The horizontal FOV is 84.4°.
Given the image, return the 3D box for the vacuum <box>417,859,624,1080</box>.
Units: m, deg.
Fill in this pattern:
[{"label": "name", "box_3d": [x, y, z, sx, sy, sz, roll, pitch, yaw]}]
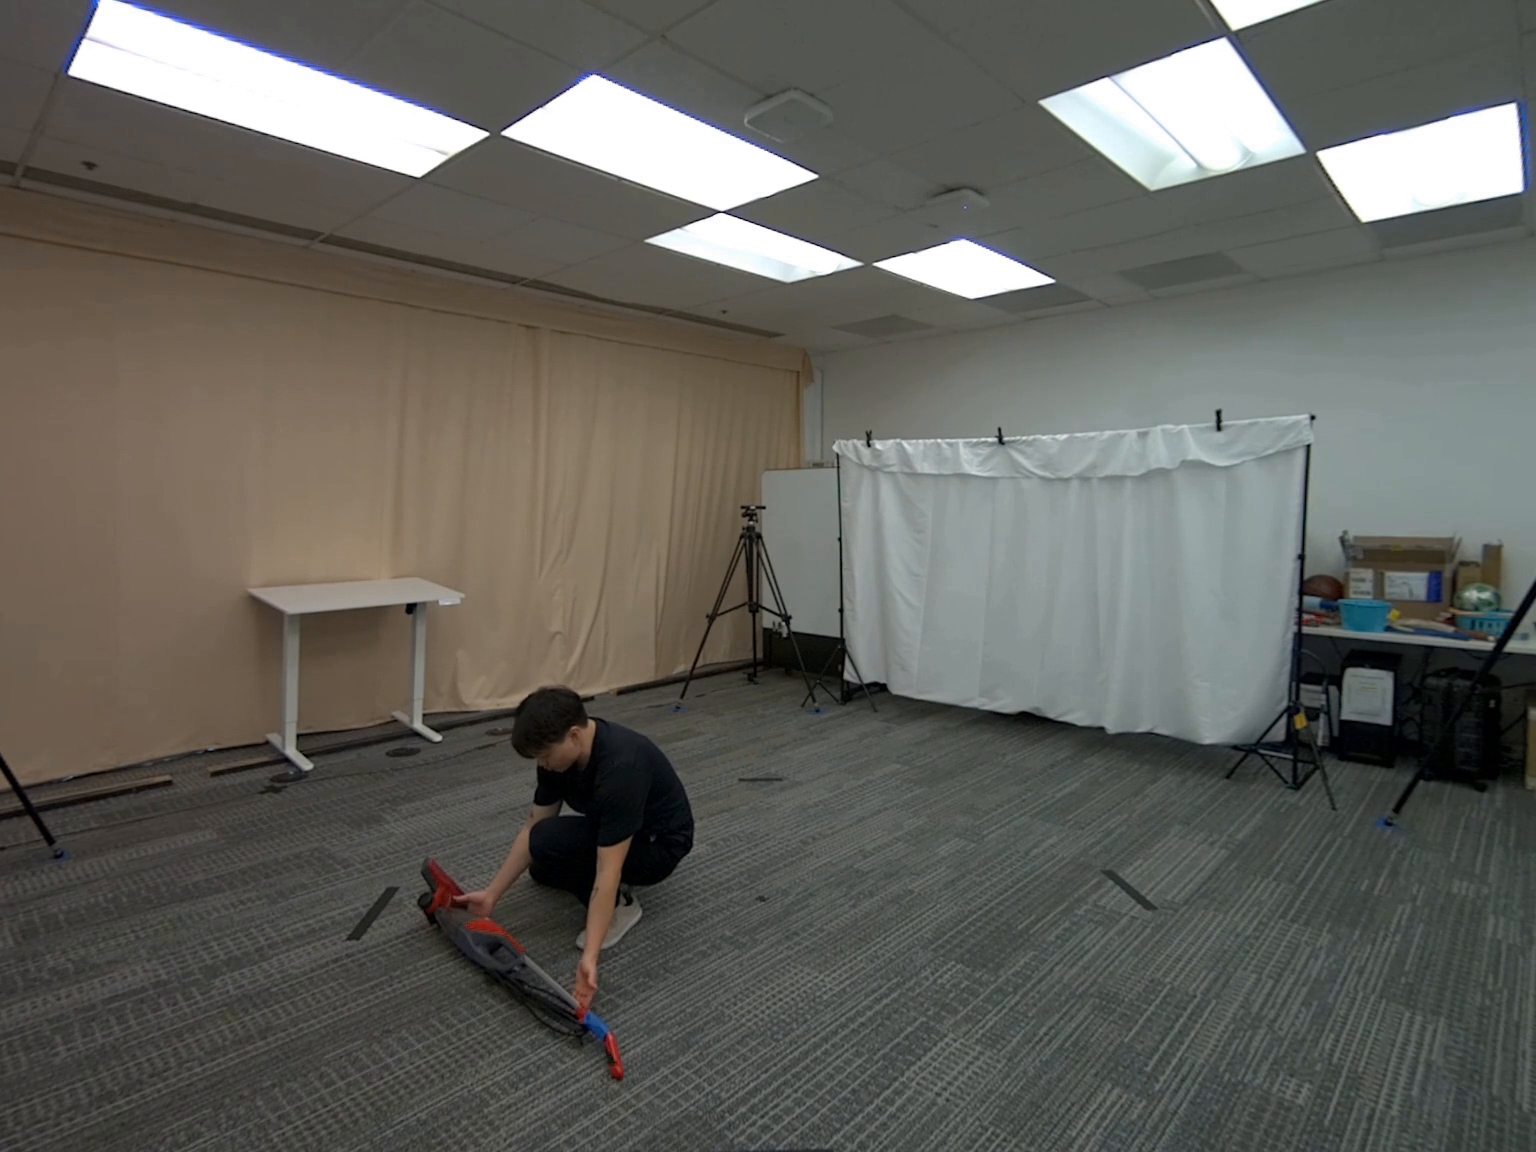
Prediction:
[{"label": "vacuum", "box_3d": [-0.735, 1.142, 2.445, 1.086, 0.246, 0.143, 11, 48, 47]}]
